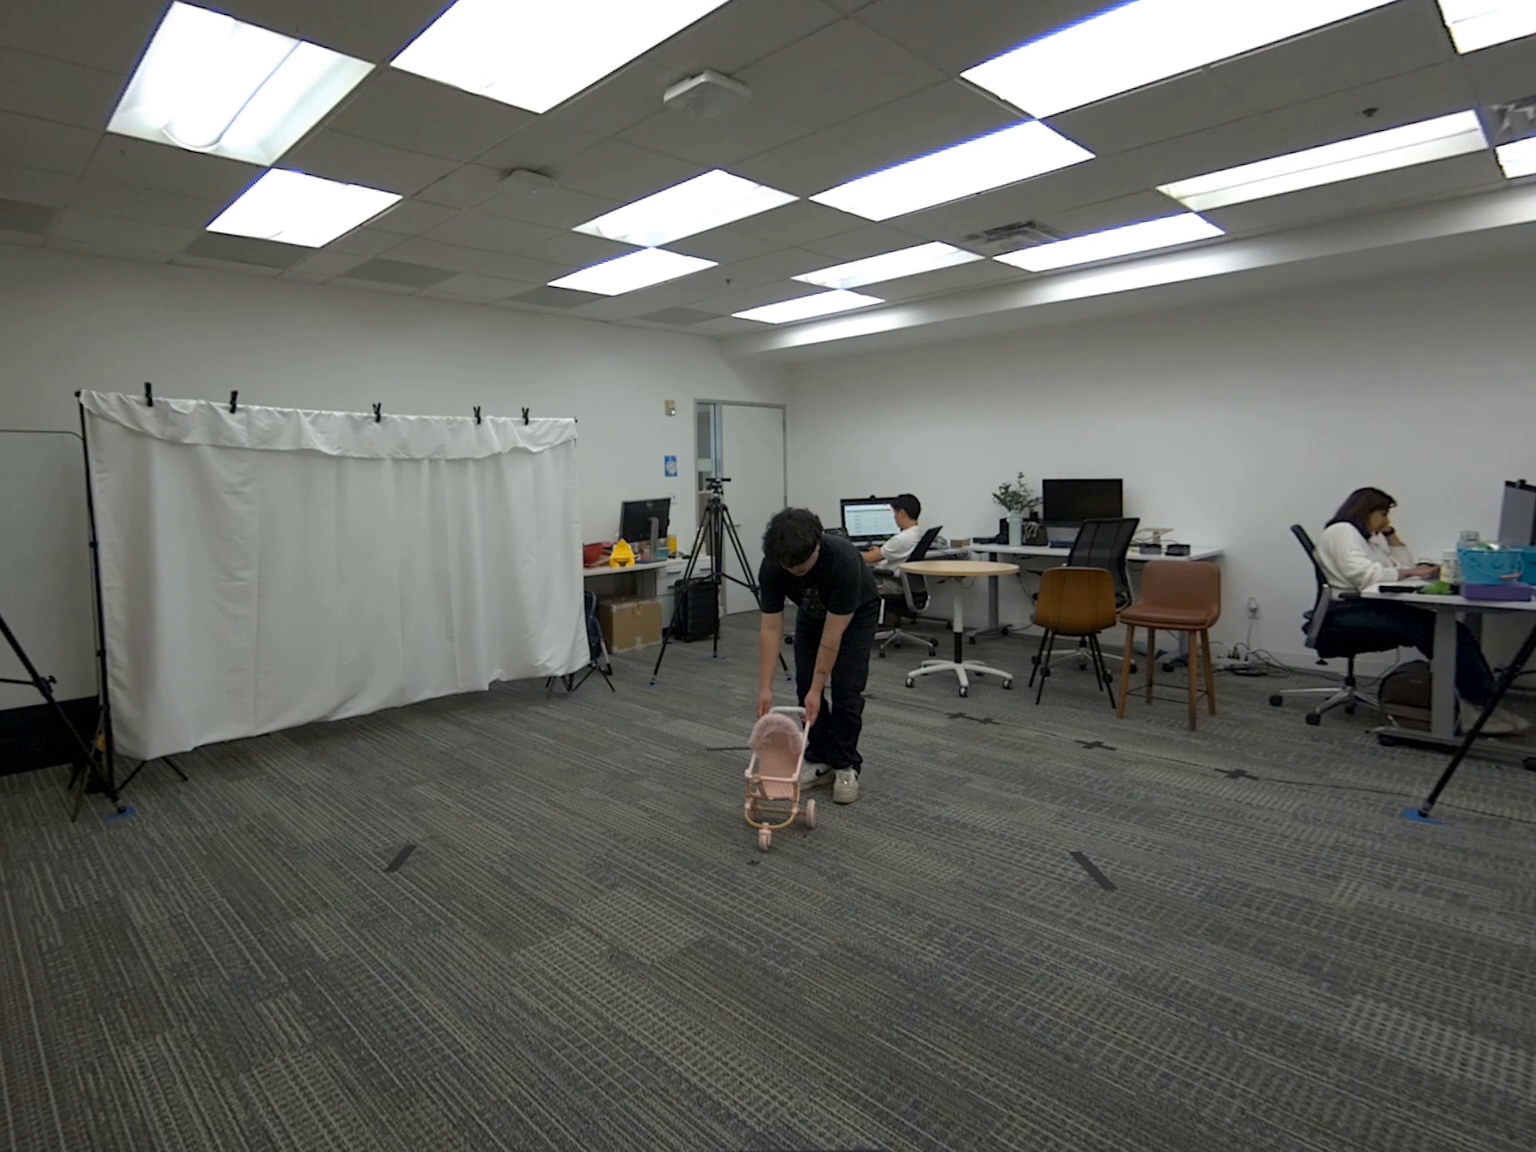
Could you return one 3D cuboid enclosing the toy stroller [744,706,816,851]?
[{"bbox_3d":[0.030,0.785,3.380,0.287,0.540,0.332,0,-11,20],"label":"toy stroller"}]
